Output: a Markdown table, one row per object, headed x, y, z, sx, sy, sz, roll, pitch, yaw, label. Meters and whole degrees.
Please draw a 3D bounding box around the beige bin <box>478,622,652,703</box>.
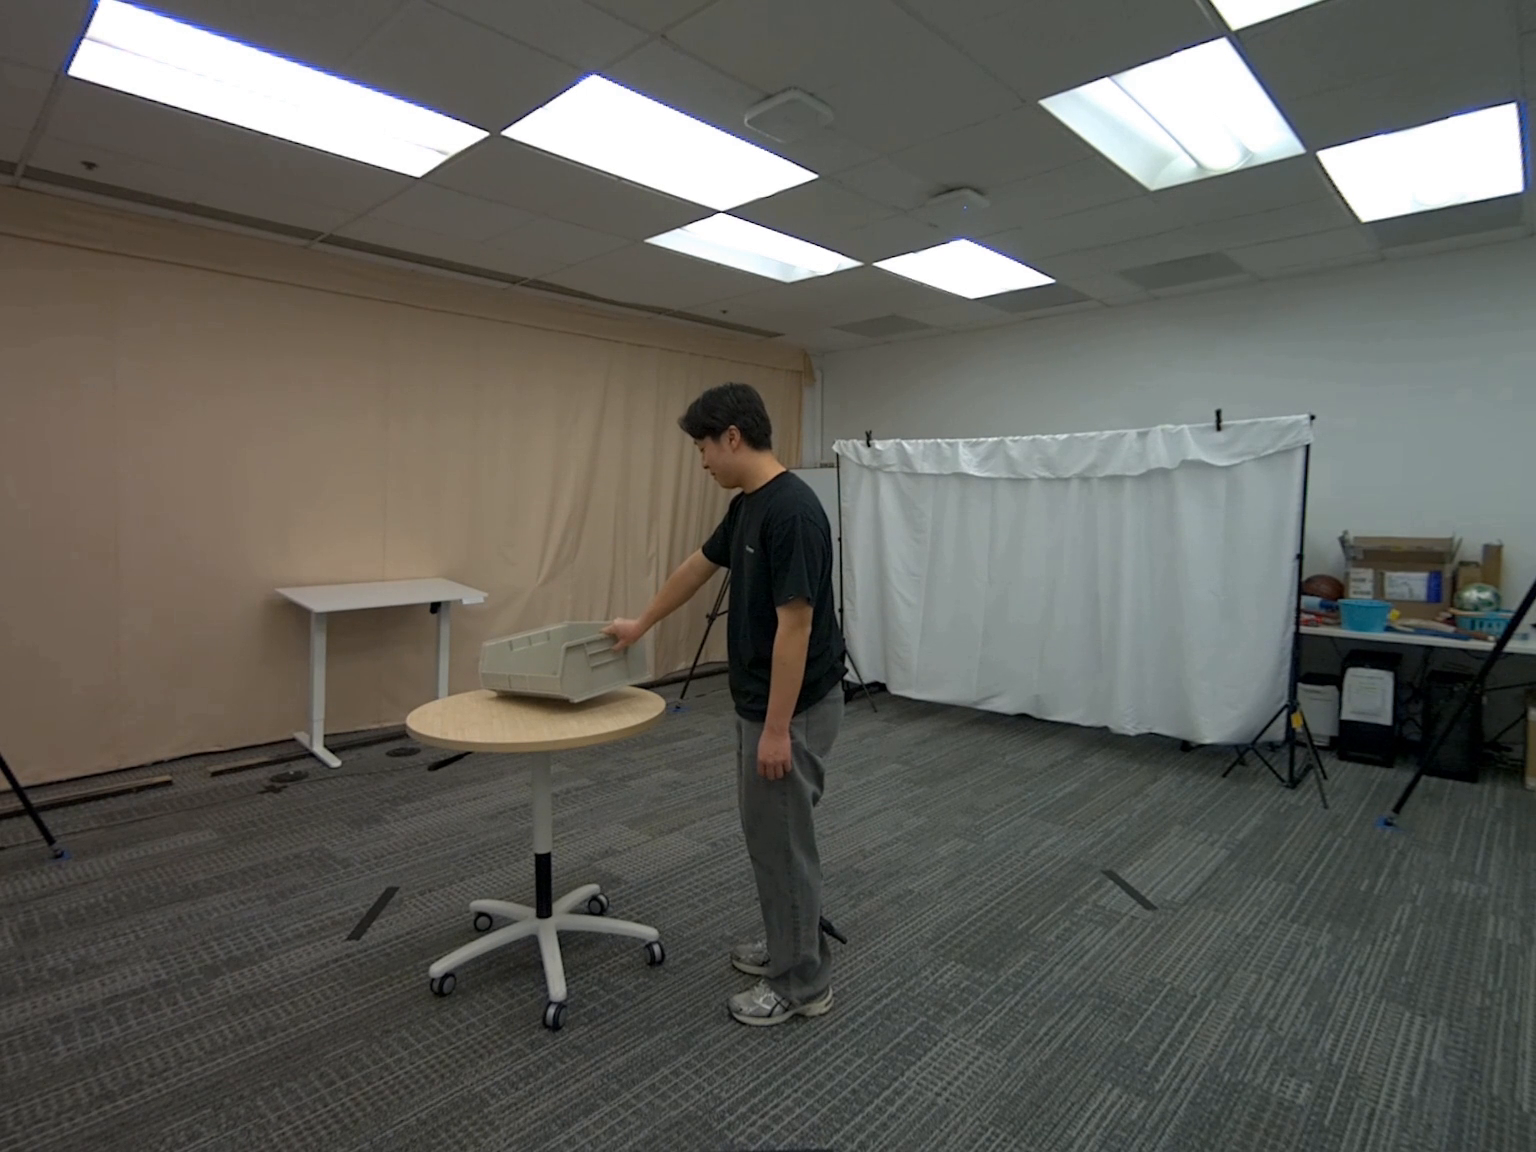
| x | y | z | sx | sy | sz | roll | pitch | yaw | label |
| --- | --- | --- | --- | --- | --- | --- | --- | --- | --- |
| -0.653 | 0.271 | 2.692 | 0.435 | 0.188 | 0.367 | -3 | 6 | 41 | beige bin |
